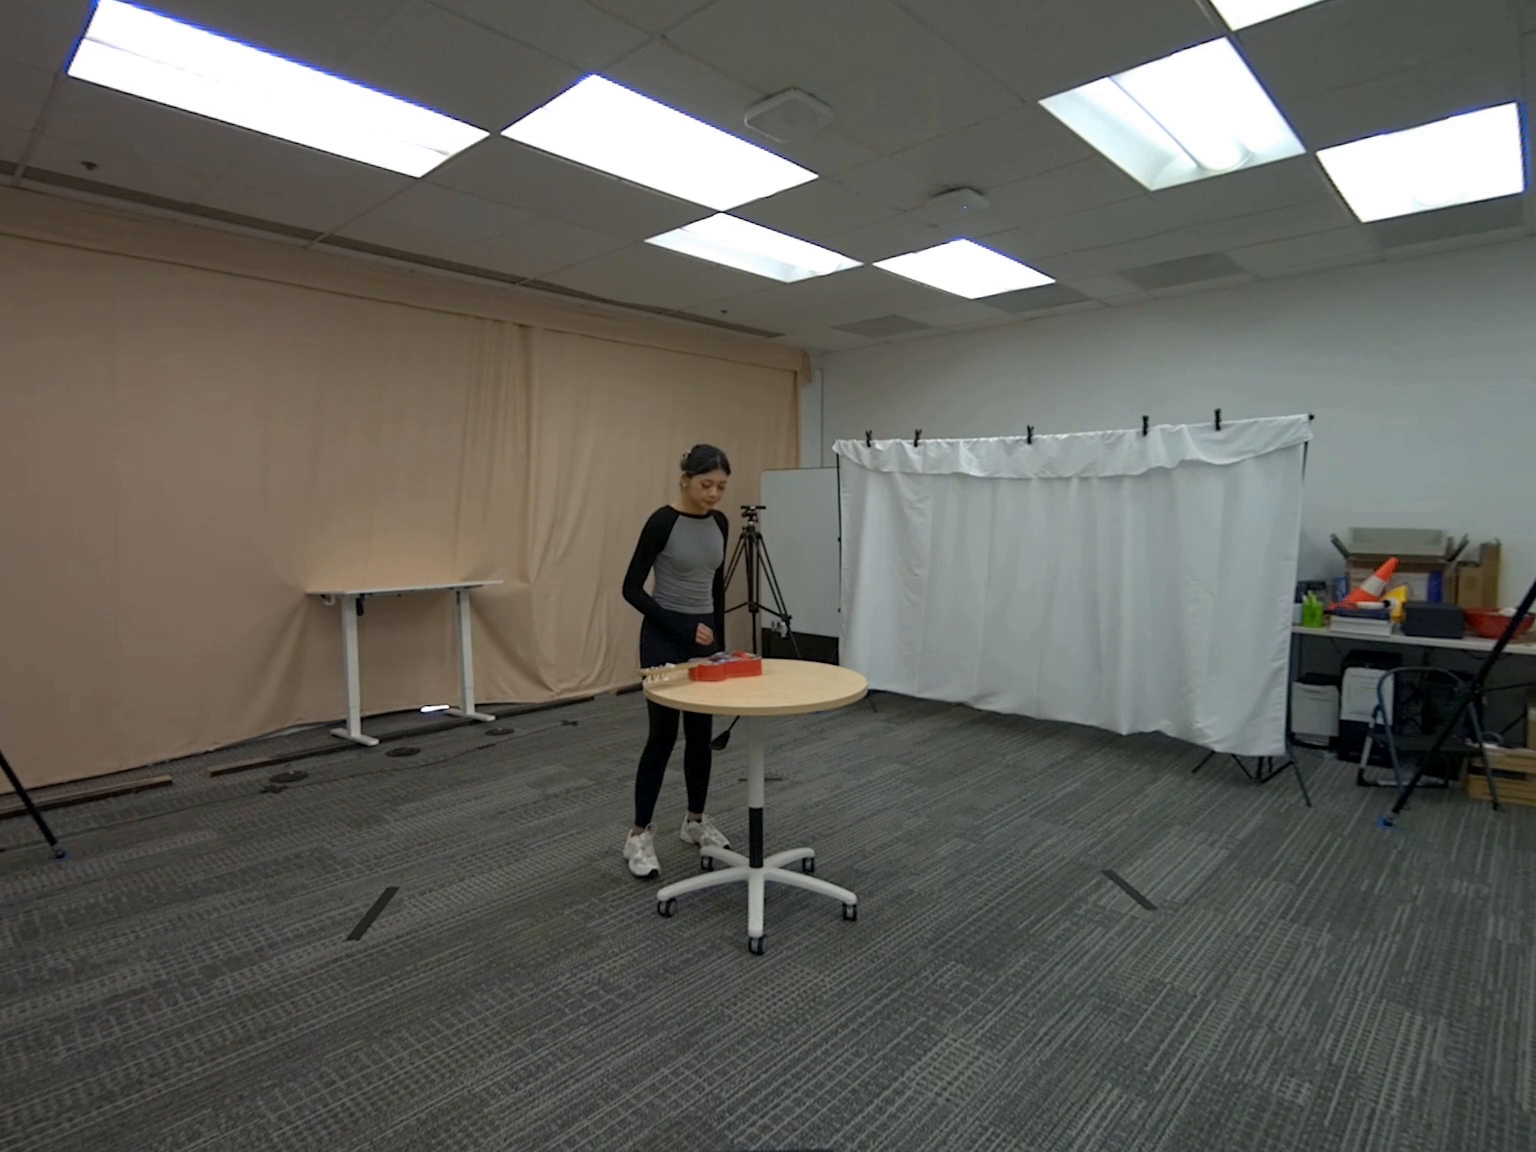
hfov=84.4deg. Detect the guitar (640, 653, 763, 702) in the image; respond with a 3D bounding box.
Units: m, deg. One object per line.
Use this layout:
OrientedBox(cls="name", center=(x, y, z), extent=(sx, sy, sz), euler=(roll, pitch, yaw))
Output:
OrientedBox(cls="guitar", center=(-0.253, 0.325, 2.937), extent=(0.484, 0.070, 0.199), euler=(-3, 5, -34))
